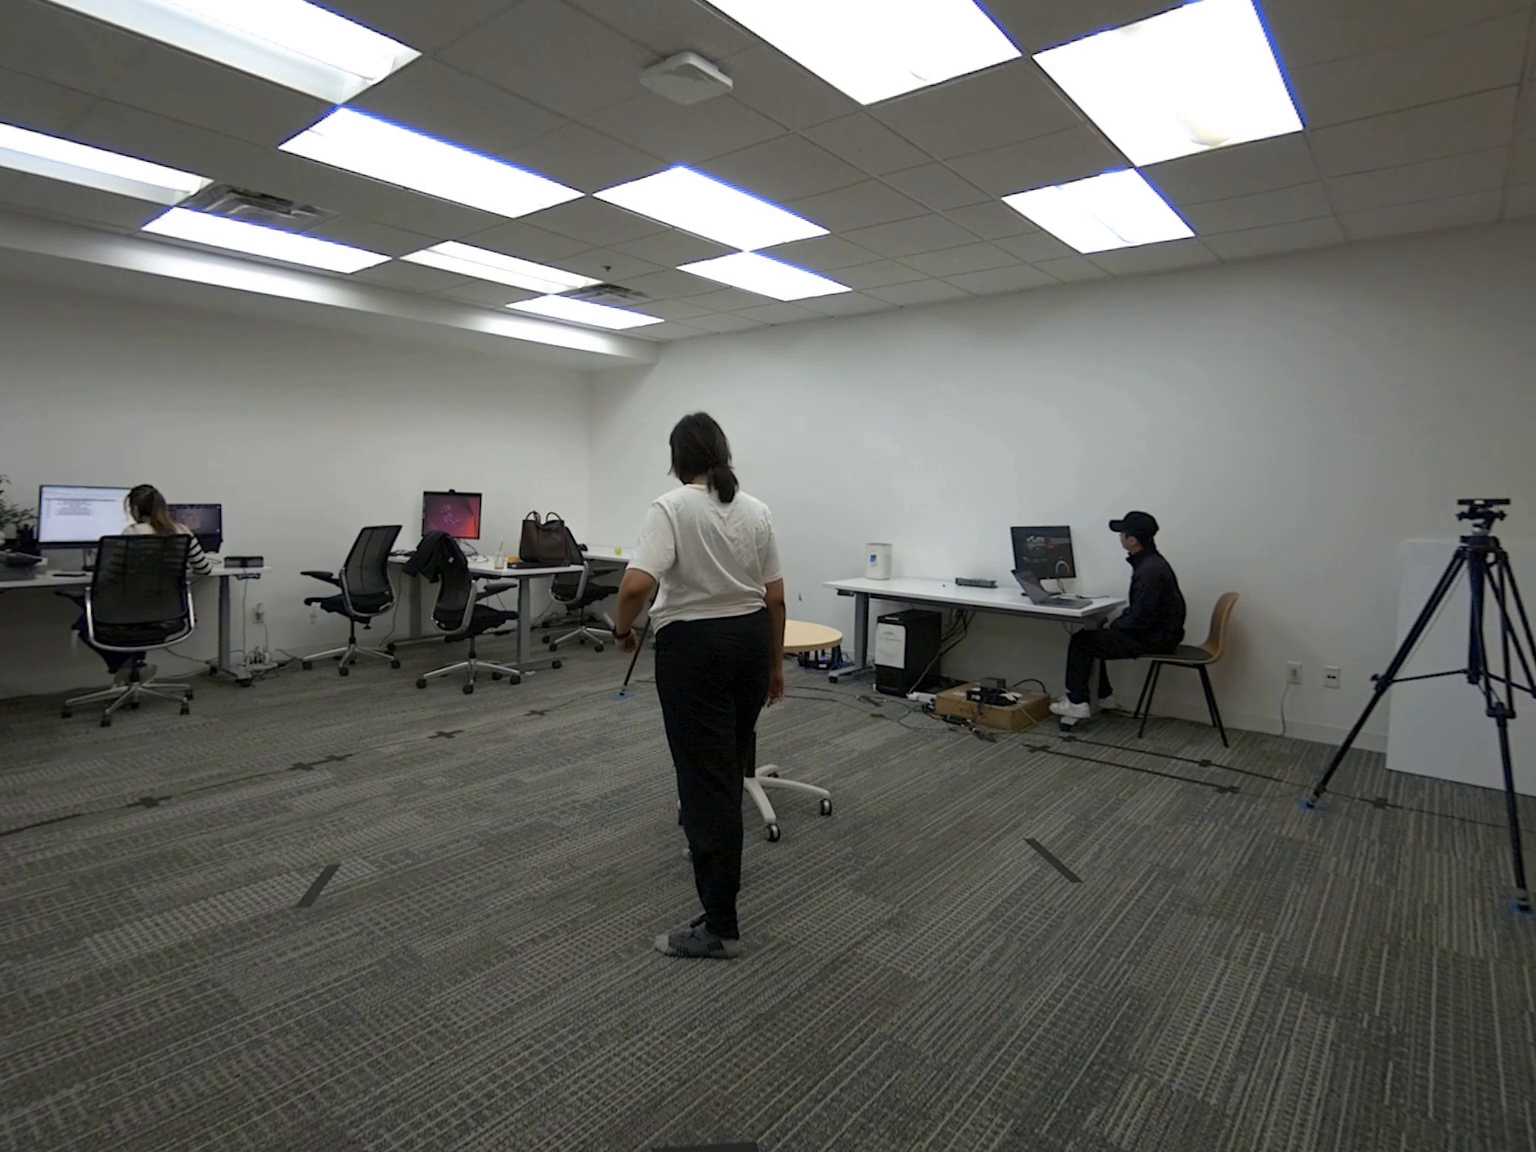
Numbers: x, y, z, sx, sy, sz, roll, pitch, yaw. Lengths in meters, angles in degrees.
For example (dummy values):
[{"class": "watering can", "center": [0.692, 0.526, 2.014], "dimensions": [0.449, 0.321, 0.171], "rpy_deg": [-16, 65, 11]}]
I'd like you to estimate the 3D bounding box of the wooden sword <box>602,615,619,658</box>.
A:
[{"class": "wooden sword", "center": [-0.605, 0.217, 3.223], "dimensions": [0.051, 0.024, 1.036], "rpy_deg": [-9, 5, -10]}]
